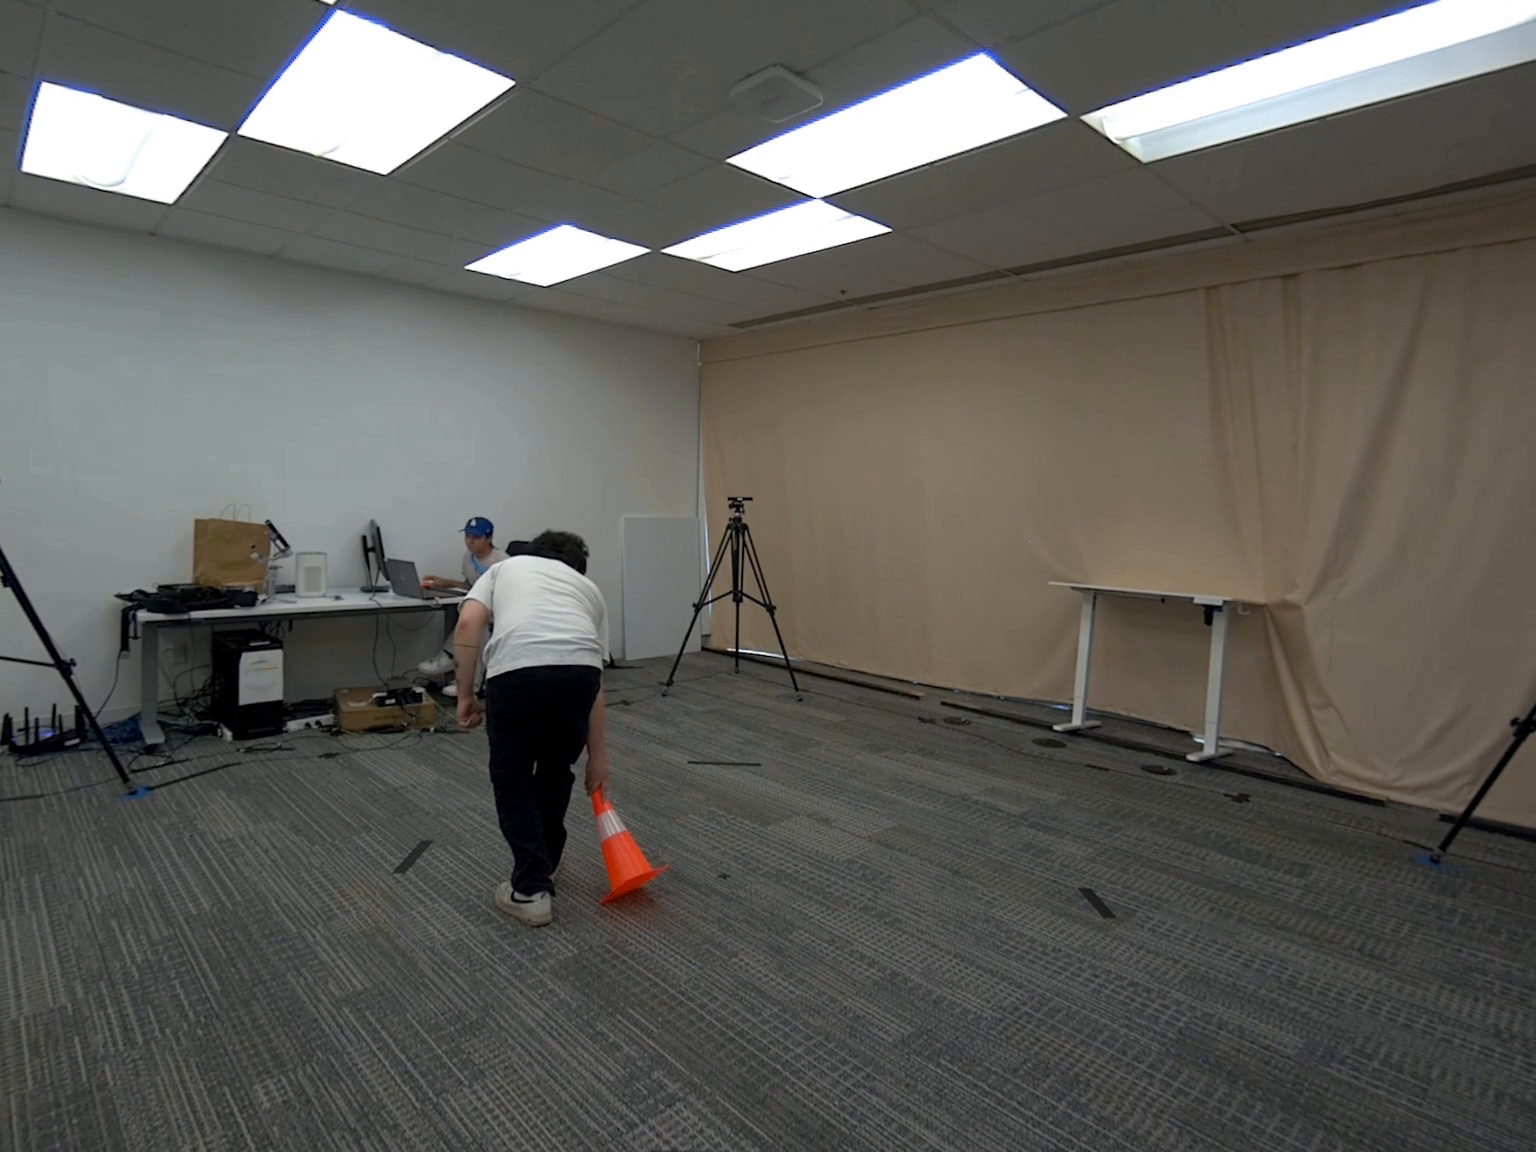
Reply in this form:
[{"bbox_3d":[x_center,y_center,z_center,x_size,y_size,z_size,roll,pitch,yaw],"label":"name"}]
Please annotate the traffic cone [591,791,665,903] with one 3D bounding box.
[{"bbox_3d":[-0.558,0.908,2.962,0.204,0.393,0.199,-41,-29,26],"label":"traffic cone"}]
